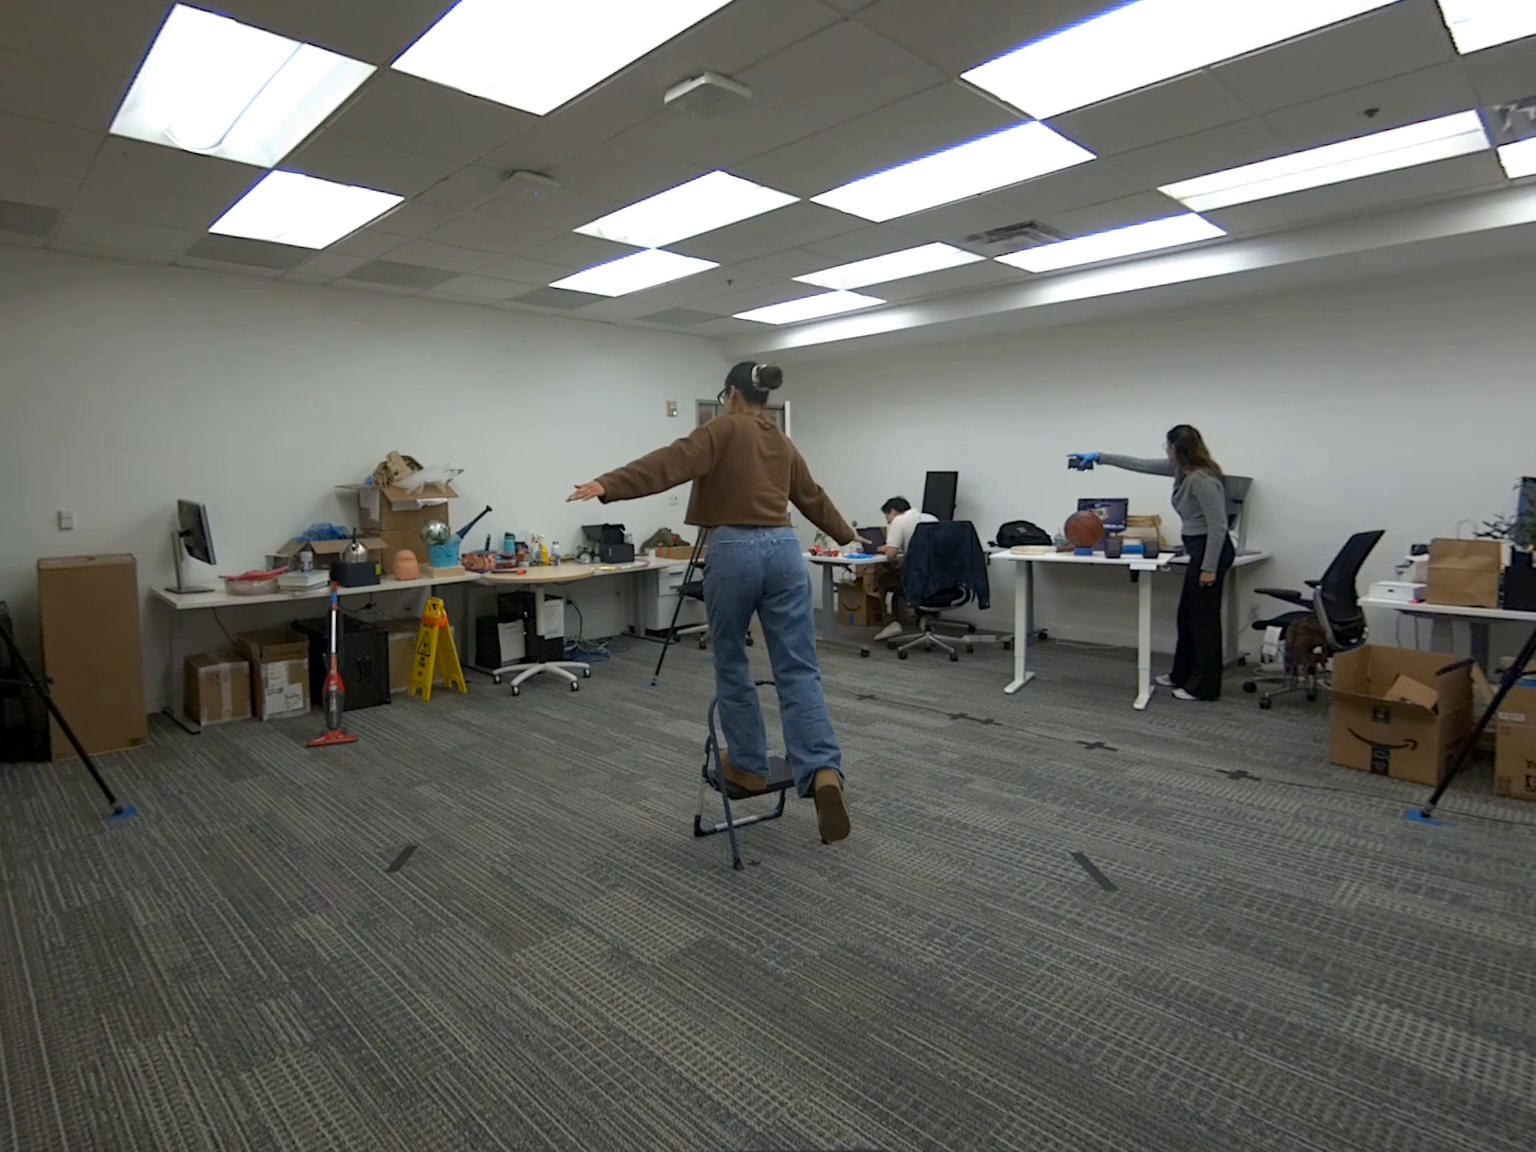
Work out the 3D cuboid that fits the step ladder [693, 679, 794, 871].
[{"bbox_3d":[-0.031,0.722,3.293,0.420,0.604,0.359,-4,5,-33],"label":"step ladder"}]
